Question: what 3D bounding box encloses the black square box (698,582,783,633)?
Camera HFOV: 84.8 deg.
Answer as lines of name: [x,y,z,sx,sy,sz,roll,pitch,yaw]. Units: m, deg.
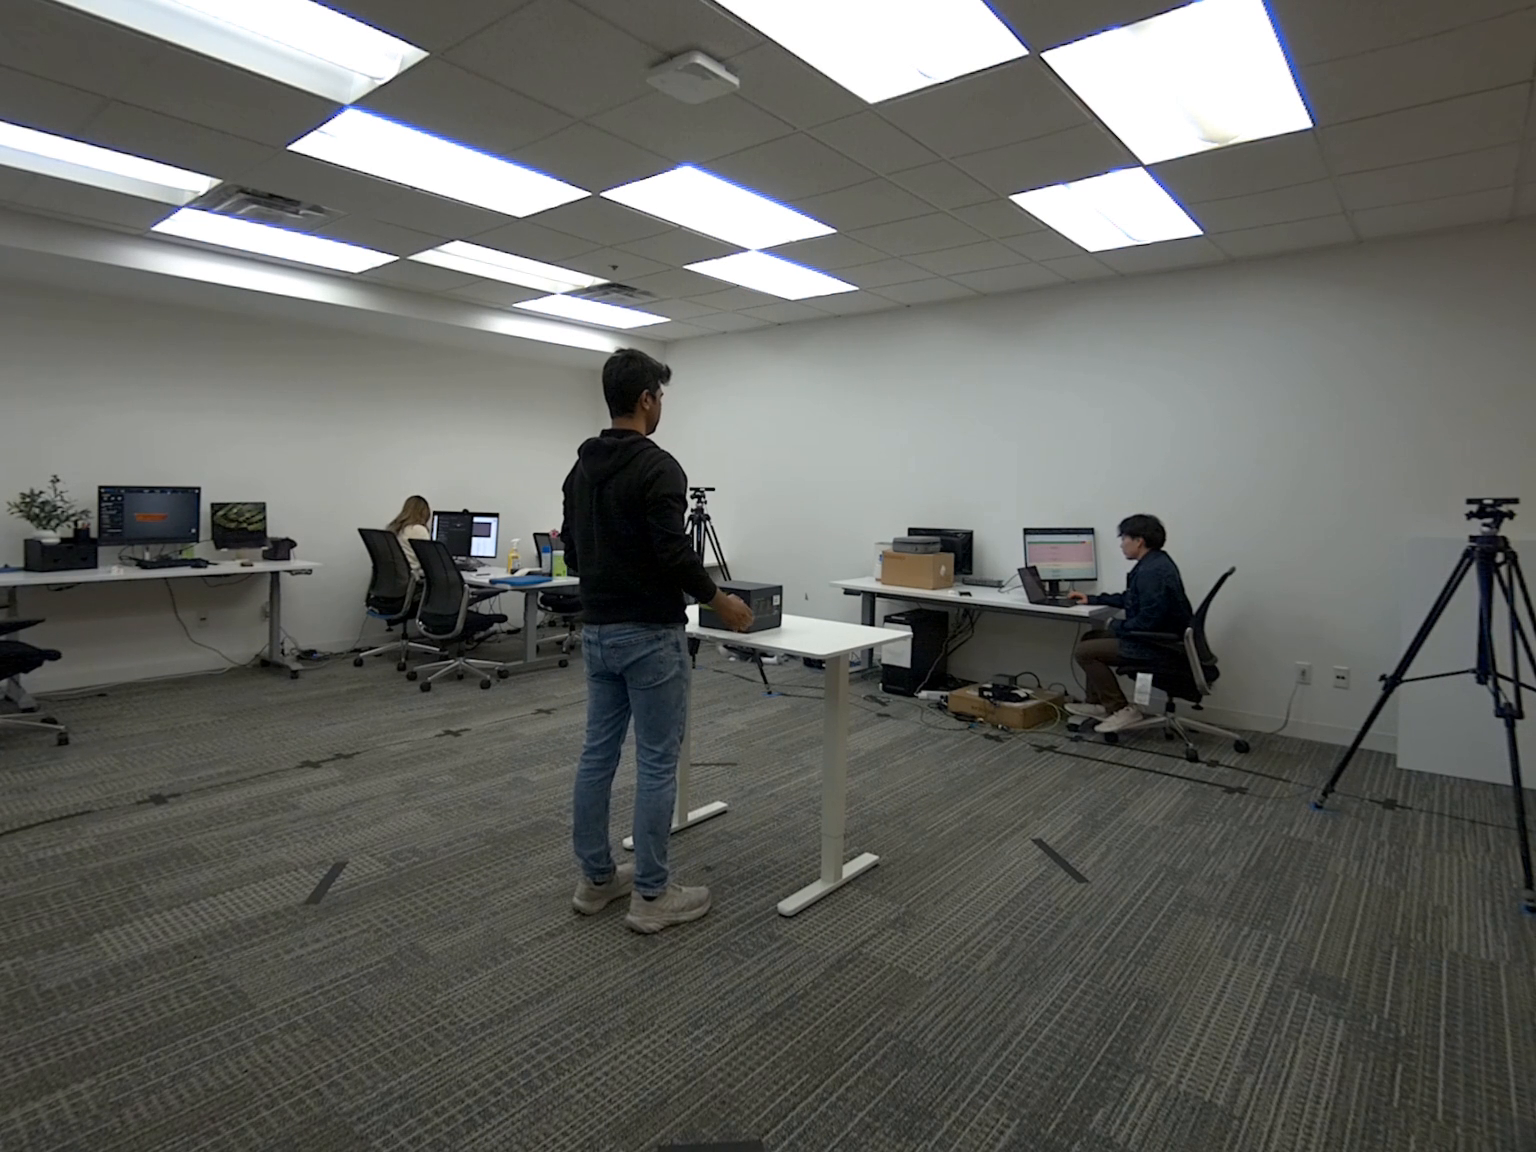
black square box: [-0.104,0.106,3.124,0.235,0.155,0.211,4,6,34]
